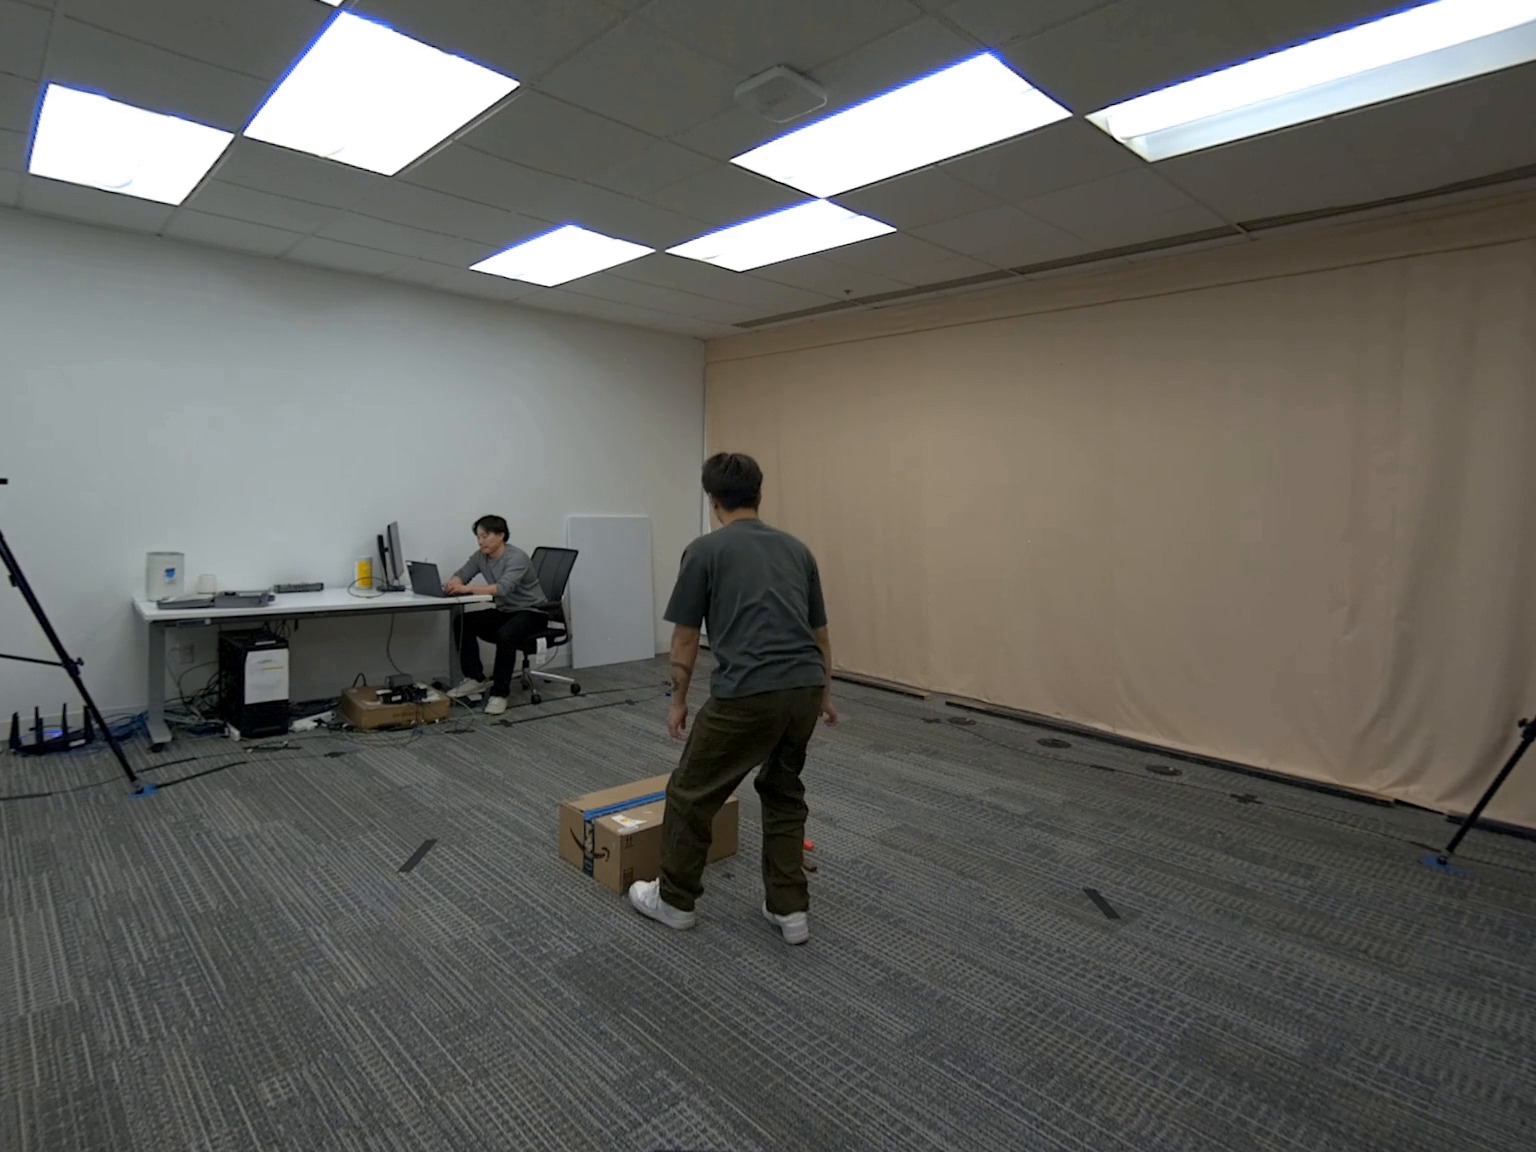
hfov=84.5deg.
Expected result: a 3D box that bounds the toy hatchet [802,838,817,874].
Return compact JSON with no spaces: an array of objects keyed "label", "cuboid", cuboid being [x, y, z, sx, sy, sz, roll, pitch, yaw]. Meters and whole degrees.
[{"label":"toy hatchet","cuboid":[0.152,1.090,3.291,0.129,0.029,0.275,0,7,-23]}]
